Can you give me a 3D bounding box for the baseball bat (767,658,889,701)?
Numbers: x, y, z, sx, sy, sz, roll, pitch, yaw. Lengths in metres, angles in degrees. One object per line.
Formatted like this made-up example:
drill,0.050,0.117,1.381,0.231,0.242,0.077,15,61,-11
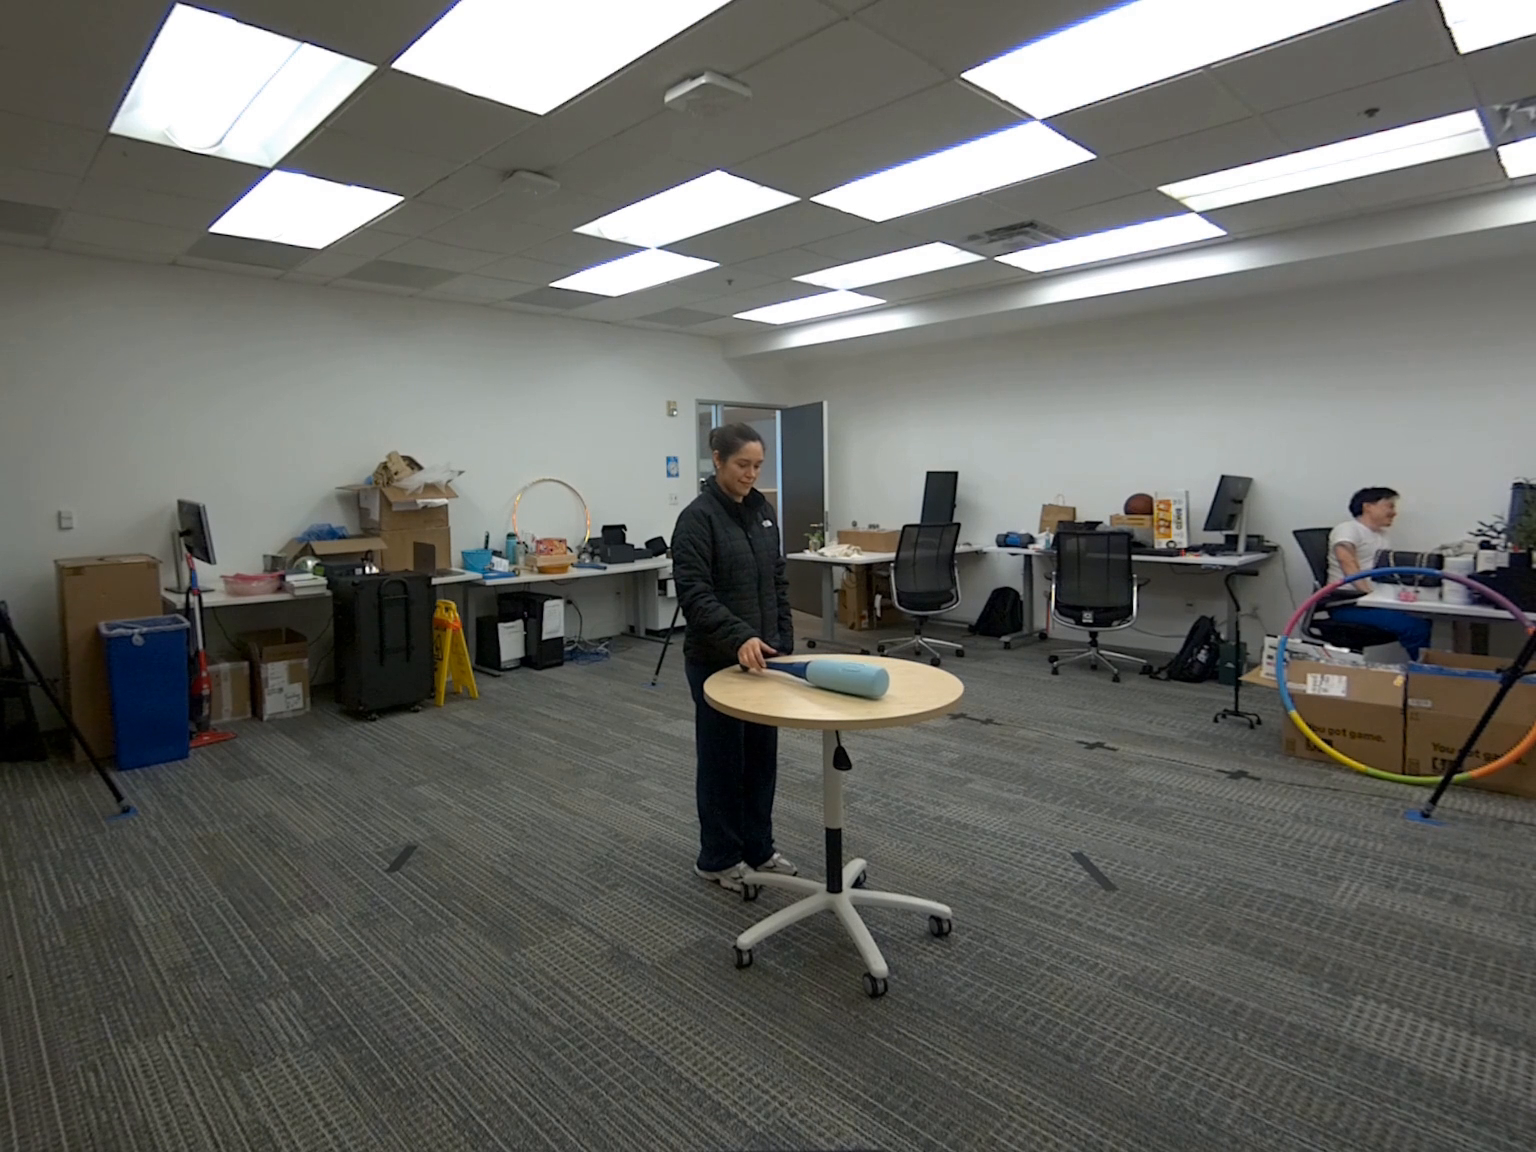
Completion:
baseball bat,0.117,0.292,2.554,0.559,0.089,0.087,0,4,44
